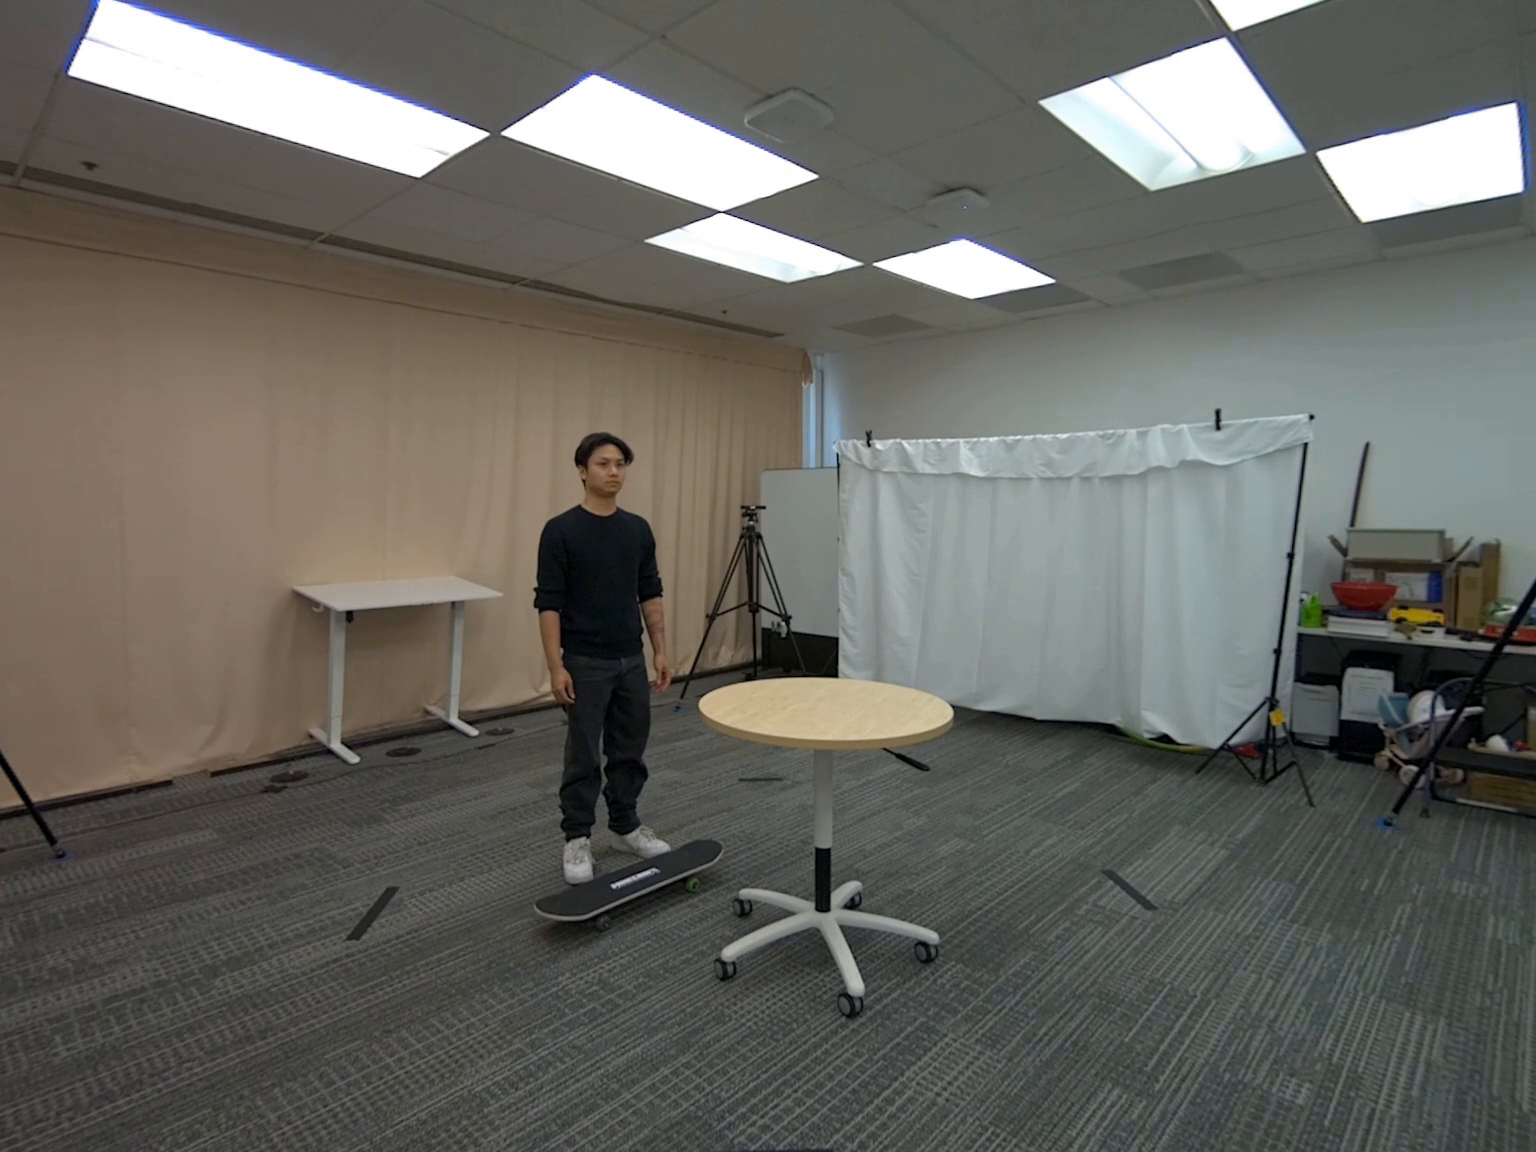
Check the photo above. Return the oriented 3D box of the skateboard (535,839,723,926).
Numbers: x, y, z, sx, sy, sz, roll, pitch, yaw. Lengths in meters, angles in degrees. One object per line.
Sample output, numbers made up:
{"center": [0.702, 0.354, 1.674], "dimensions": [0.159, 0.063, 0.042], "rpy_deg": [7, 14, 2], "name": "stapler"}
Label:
{"center": [-0.472, 1.098, 2.954], "dimensions": [0.200, 0.110, 0.761], "rpy_deg": [4, 6, 45], "name": "skateboard"}
